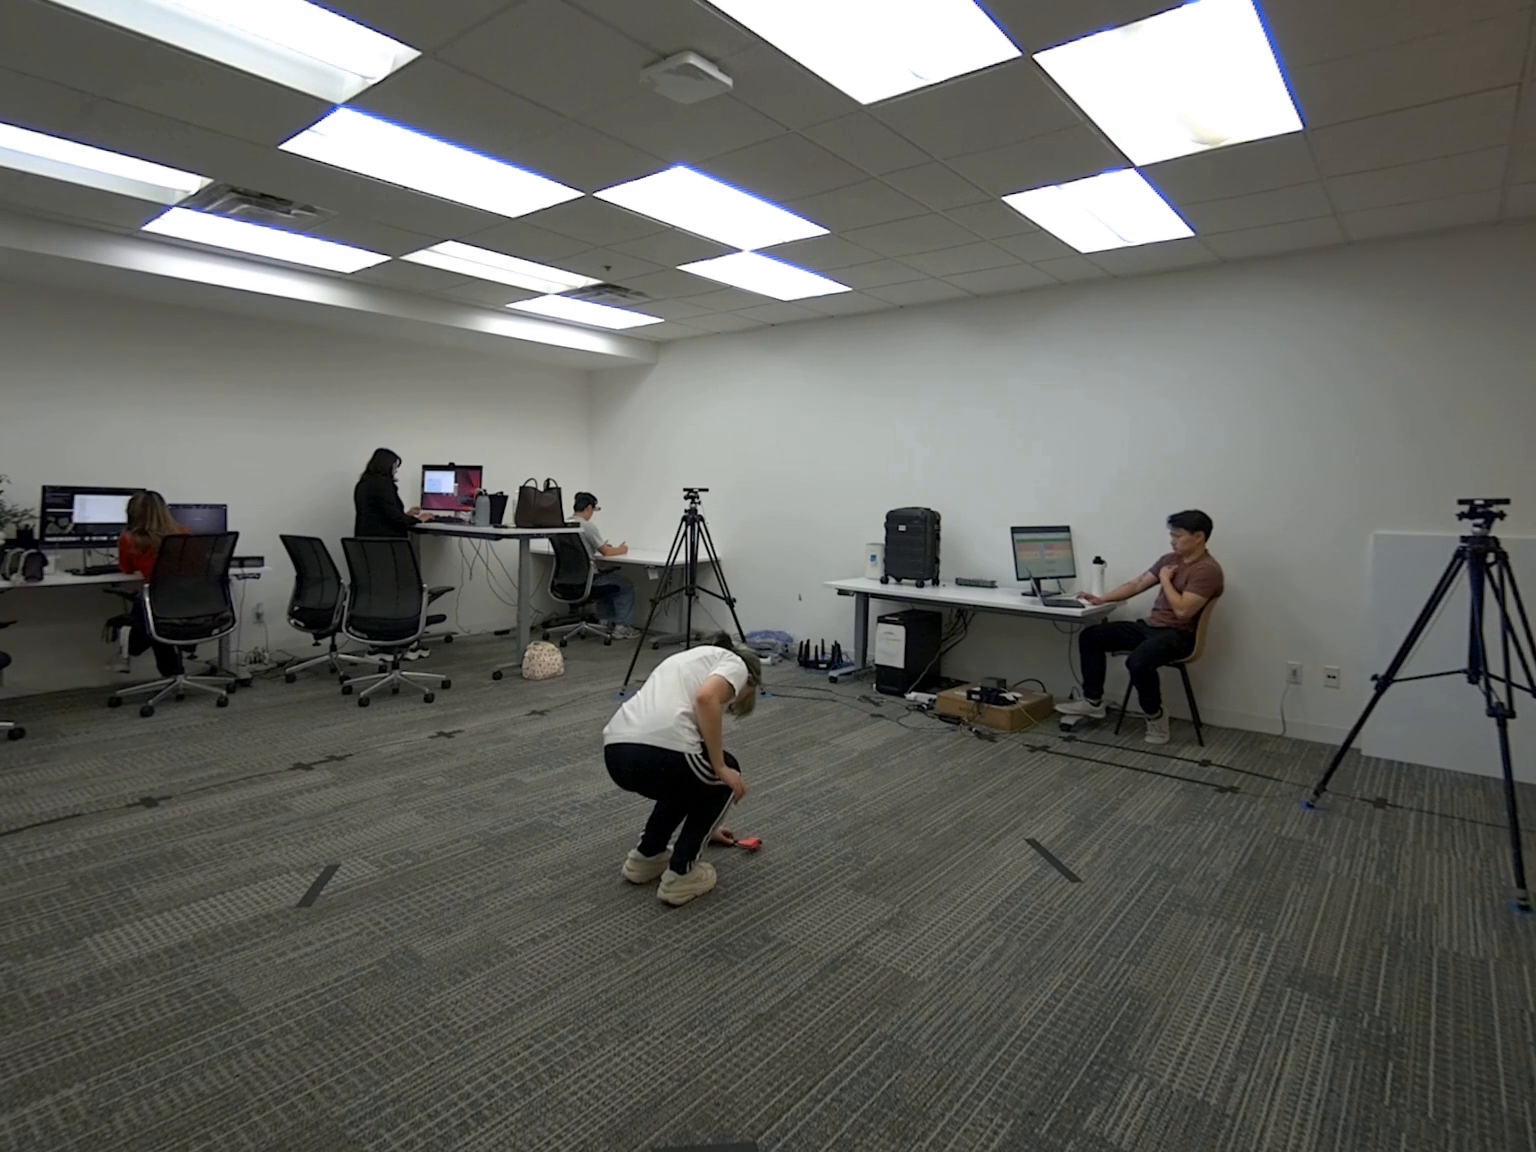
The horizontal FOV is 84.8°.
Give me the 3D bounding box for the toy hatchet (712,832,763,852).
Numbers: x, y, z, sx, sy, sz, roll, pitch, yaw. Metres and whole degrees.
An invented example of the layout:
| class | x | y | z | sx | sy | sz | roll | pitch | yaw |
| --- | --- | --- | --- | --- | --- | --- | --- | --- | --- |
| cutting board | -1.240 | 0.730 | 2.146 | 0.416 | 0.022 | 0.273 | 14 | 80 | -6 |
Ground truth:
| class | x | y | z | sx | sy | sz | roll | pitch | yaw |
| --- | --- | --- | --- | --- | --- | --- | --- | --- | --- |
| toy hatchet | -0.169 | 1.029 | 3.292 | 0.270 | 0.030 | 0.130 | -3 | -4 | 0 |
